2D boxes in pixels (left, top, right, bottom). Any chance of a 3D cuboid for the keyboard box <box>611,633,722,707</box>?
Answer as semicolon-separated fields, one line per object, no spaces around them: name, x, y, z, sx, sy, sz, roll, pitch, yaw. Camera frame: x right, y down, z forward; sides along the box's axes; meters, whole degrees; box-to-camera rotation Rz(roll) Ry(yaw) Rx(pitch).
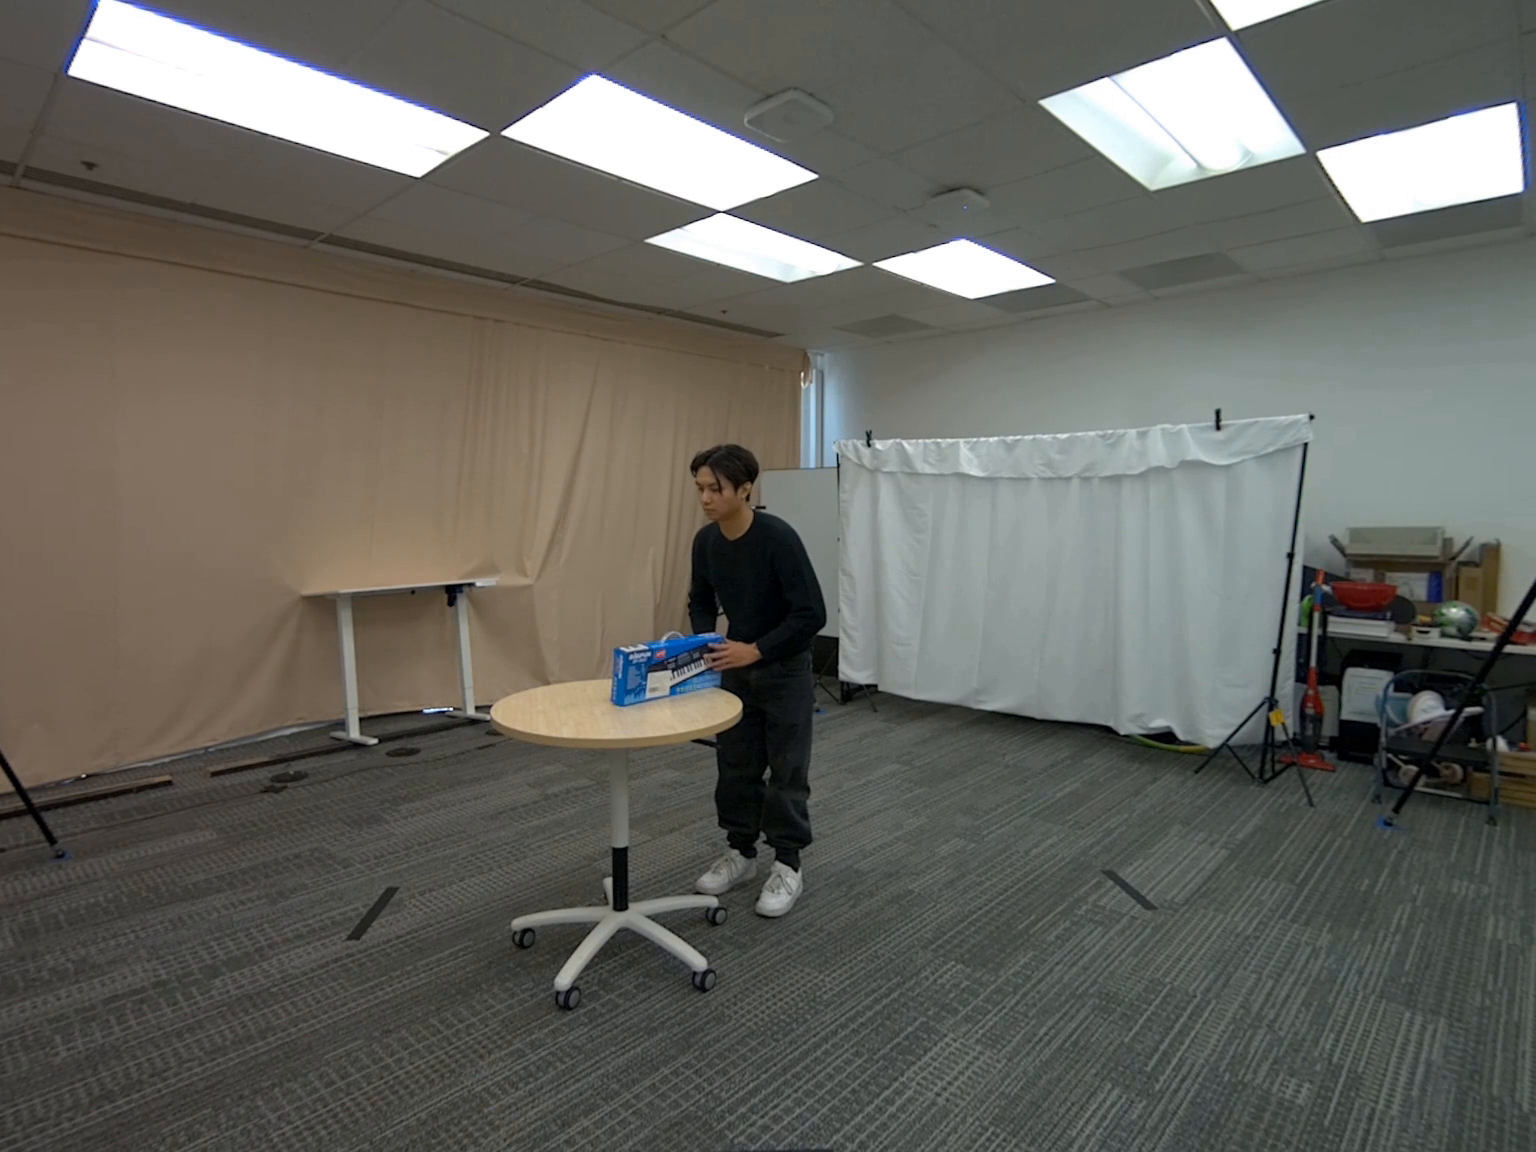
keyboard box;-0.318;0.299;2.723;0.061;0.175;0.423;12;11;42
